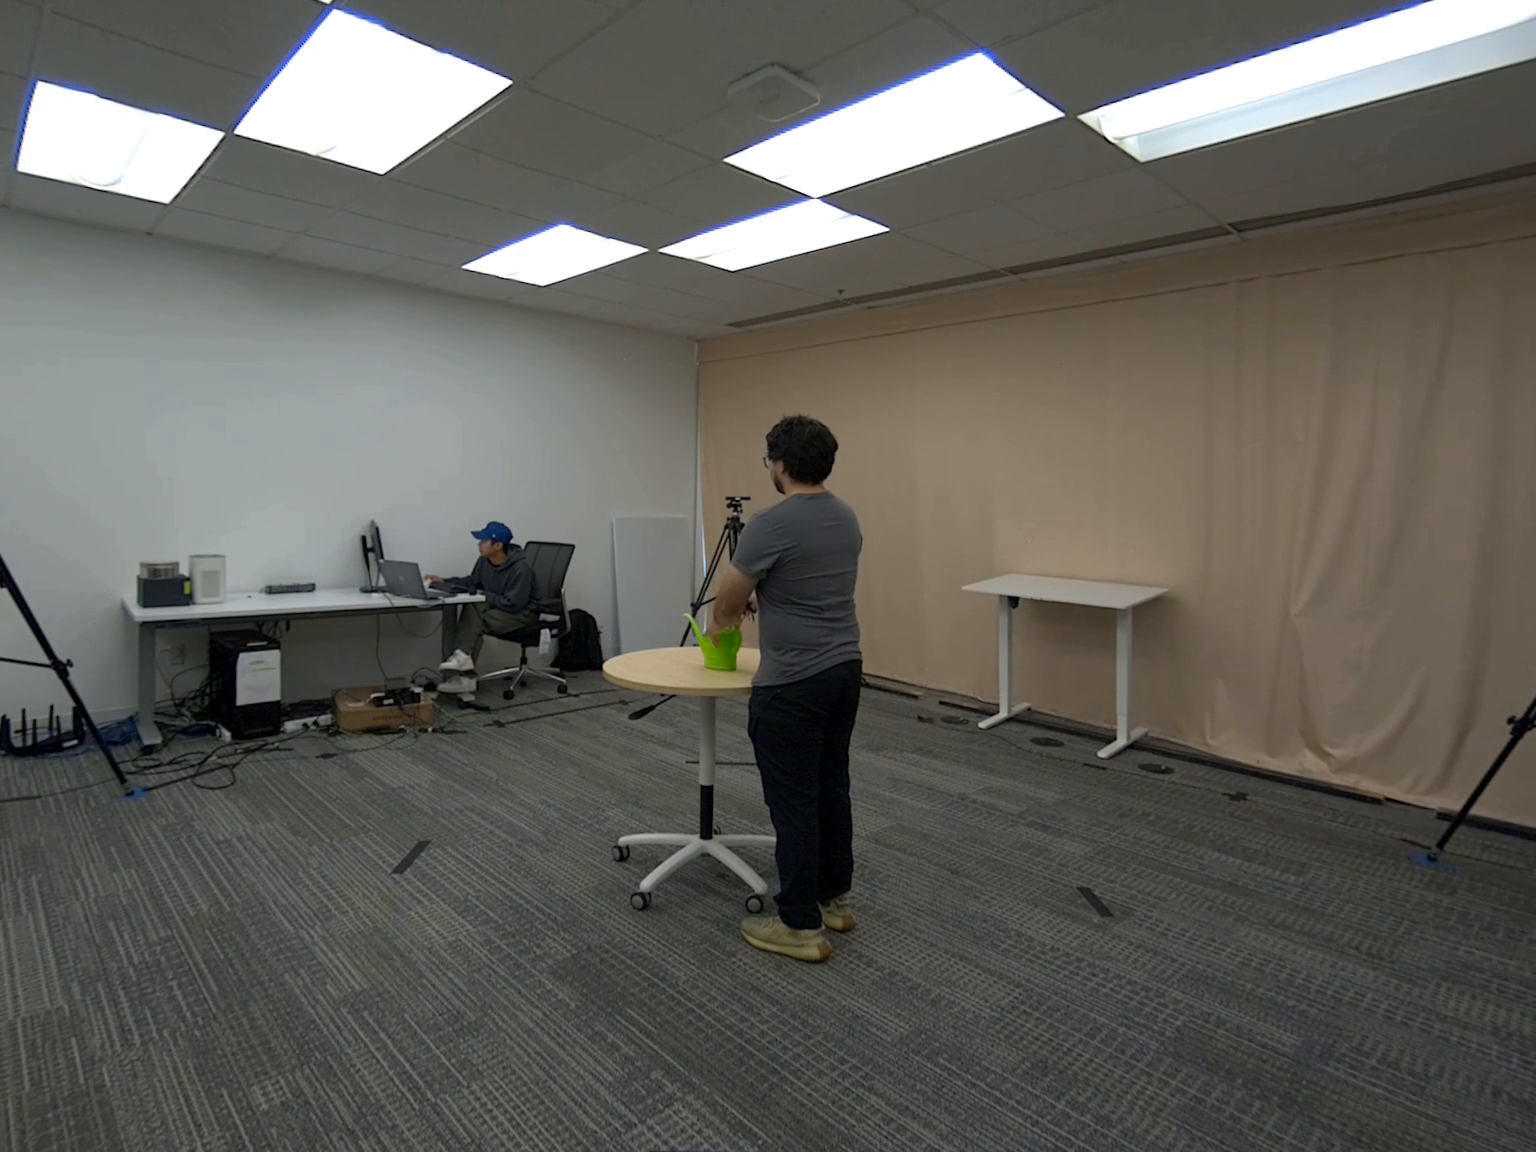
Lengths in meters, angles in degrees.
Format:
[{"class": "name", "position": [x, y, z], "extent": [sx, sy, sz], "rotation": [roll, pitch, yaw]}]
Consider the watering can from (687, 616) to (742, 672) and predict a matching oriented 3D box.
[{"class": "watering can", "position": [-0.208, 0.242, 3.046], "extent": [0.096, 0.176, 0.286], "rotation": [-2, 9, -39]}]
